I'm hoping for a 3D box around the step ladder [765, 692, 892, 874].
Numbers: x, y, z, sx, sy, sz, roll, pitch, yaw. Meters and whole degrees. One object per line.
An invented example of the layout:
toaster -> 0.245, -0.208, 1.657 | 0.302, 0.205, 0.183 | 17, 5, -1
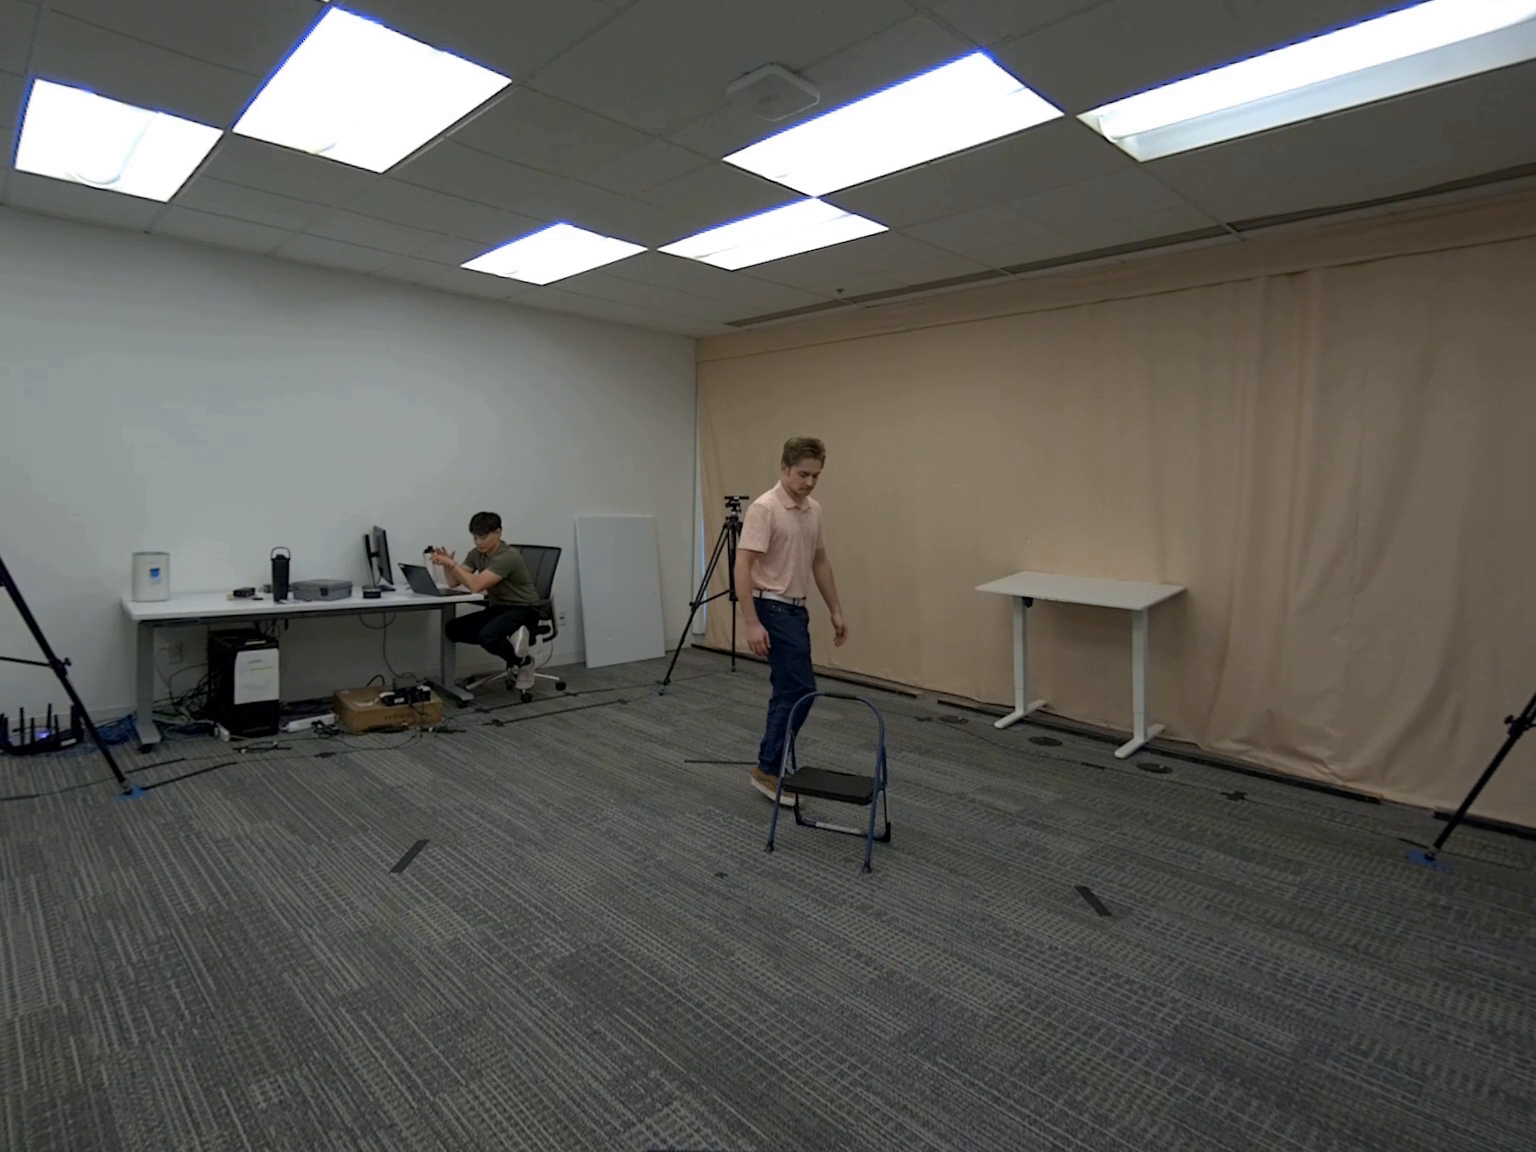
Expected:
step ladder -> 0.253, 0.787, 3.377 | 0.439, 0.604, 0.343 | 4, 4, 24
